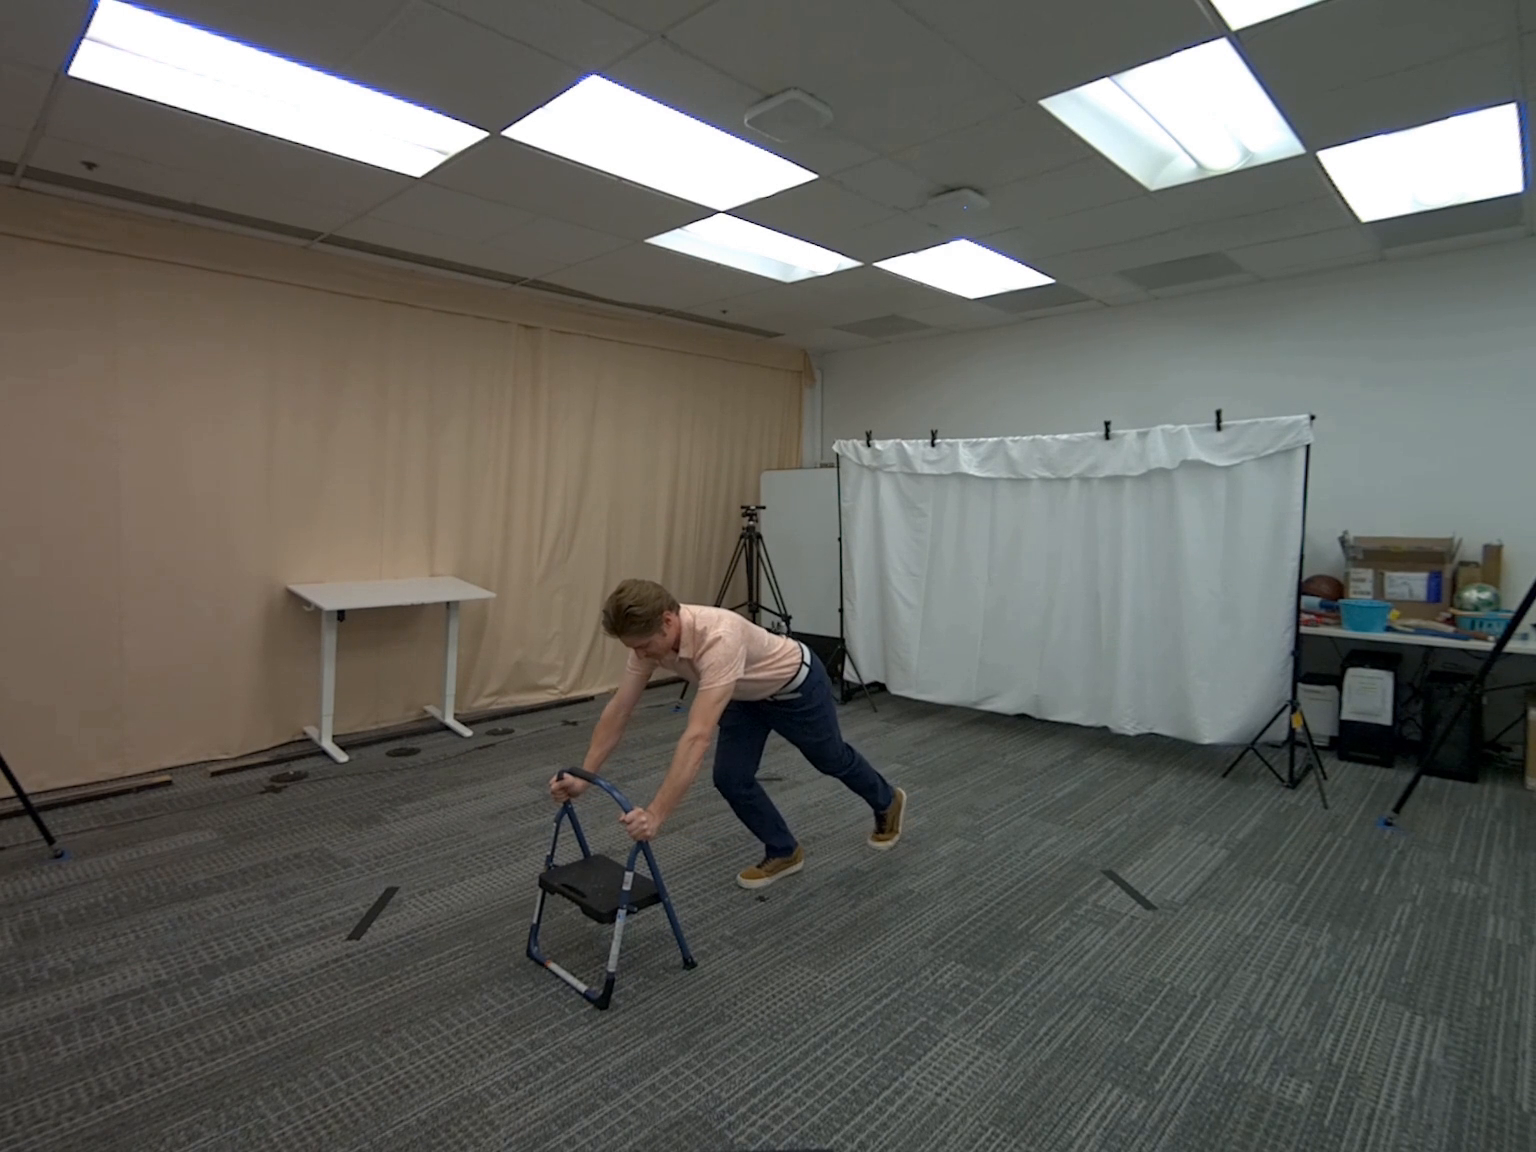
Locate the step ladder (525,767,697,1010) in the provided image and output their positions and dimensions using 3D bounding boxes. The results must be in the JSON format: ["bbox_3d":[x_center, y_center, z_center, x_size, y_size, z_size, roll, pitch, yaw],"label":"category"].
[{"bbox_3d":[-0.486,0.883,2.566,0.445,0.605,0.338,3,5,44],"label":"step ladder"}]
